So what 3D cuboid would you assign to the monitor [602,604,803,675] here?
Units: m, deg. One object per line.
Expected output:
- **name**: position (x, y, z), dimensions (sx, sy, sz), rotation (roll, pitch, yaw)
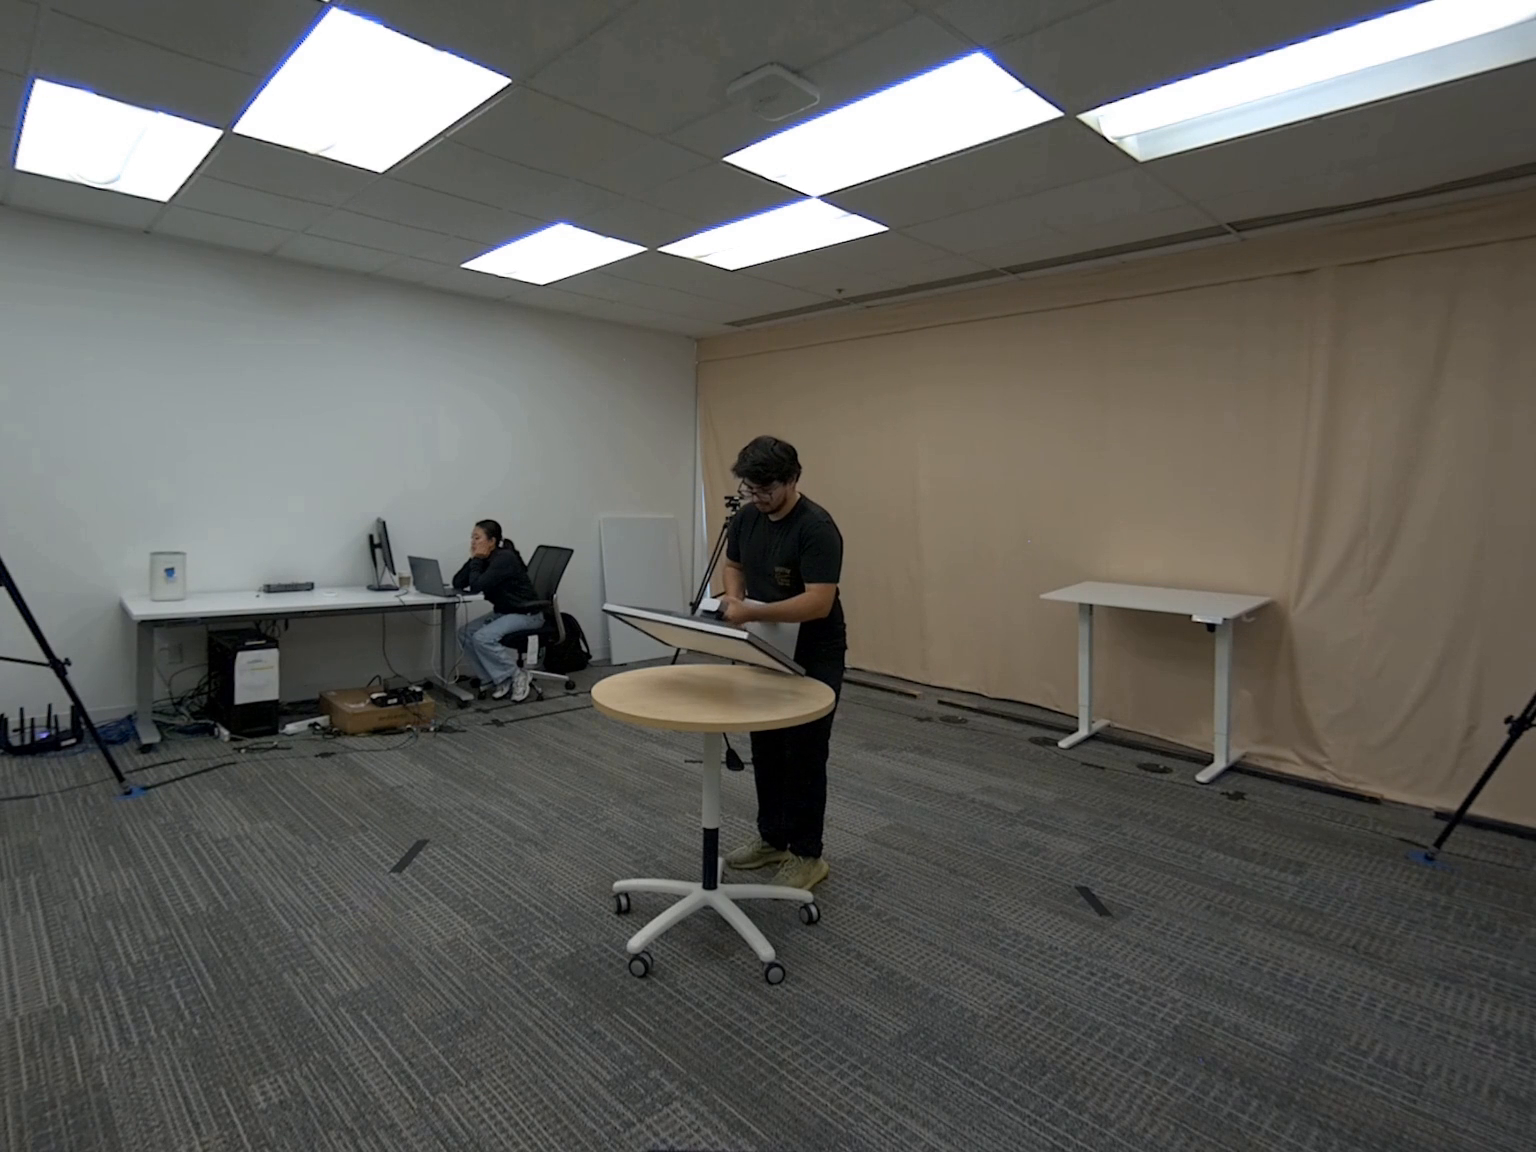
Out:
- **monitor**: position (-0.149, 0.147, 2.679), dimensions (0.580, 0.211, 0.537), rotation (9, -11, 36)
